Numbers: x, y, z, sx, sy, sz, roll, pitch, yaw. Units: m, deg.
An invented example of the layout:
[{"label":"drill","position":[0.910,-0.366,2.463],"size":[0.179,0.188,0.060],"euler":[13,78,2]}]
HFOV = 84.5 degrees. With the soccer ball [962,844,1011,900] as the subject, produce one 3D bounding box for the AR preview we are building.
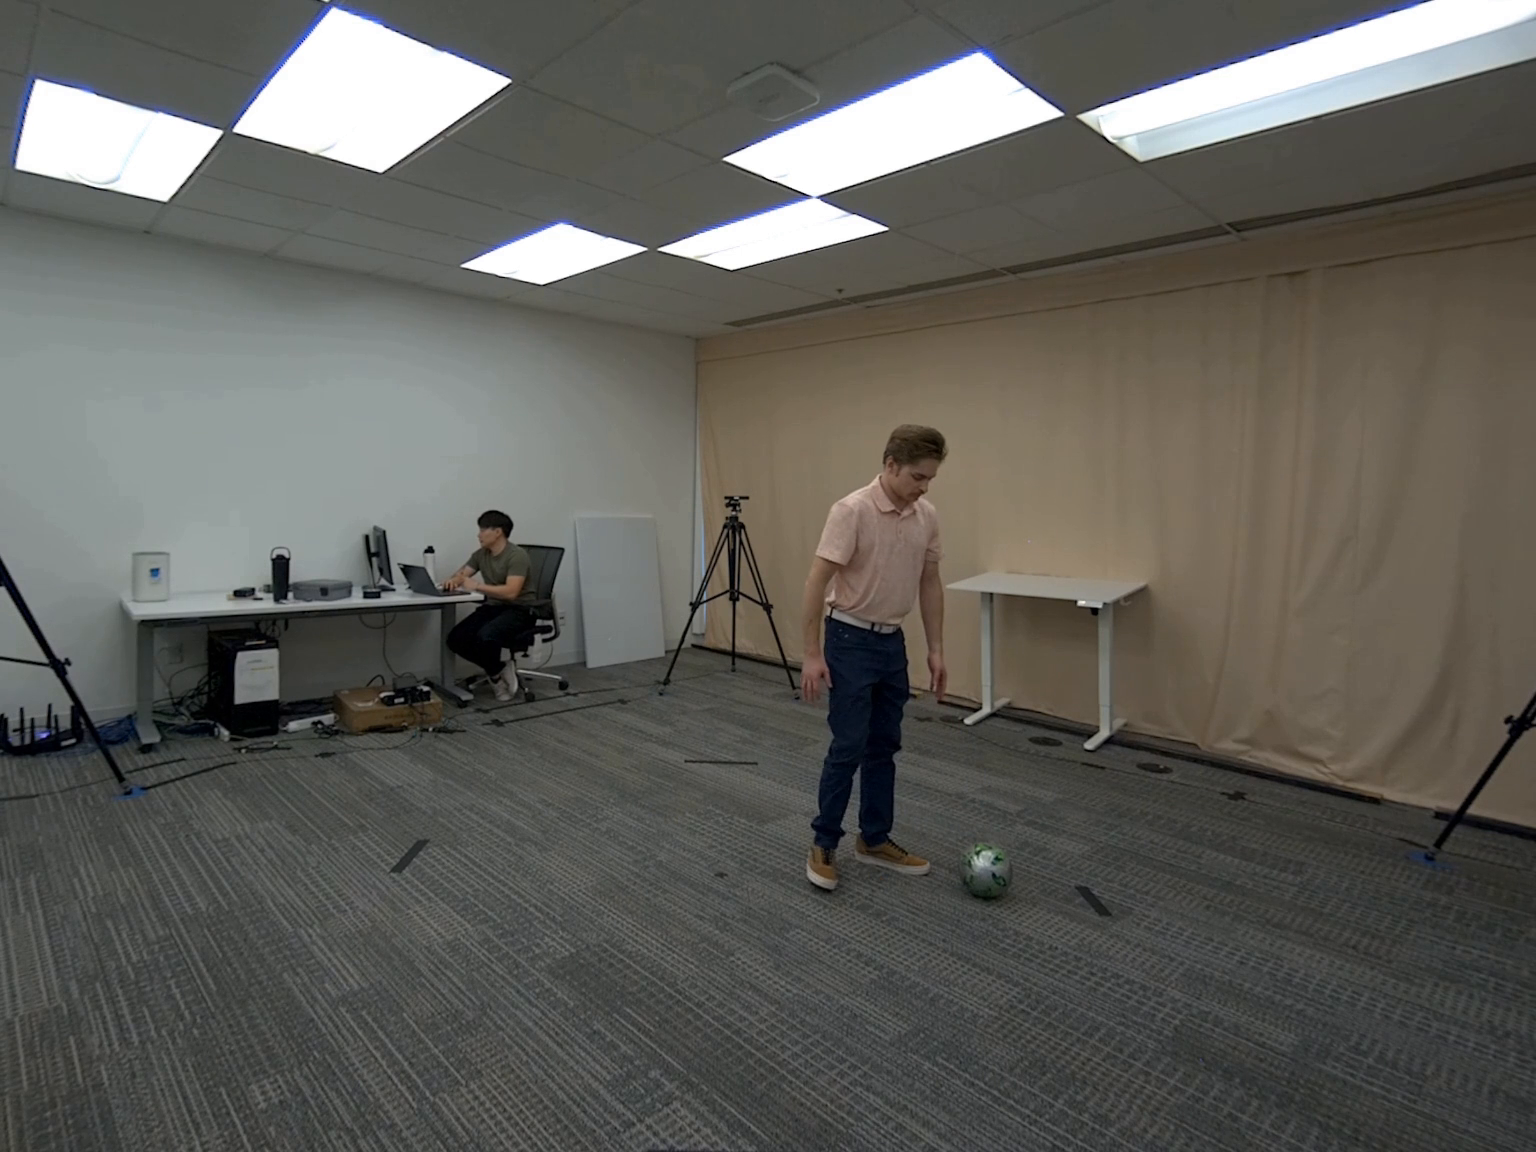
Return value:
[{"label":"soccer ball","position":[0.767,1.046,2.996],"size":[0.187,0.187,0.188],"euler":[1,4,-1]}]
